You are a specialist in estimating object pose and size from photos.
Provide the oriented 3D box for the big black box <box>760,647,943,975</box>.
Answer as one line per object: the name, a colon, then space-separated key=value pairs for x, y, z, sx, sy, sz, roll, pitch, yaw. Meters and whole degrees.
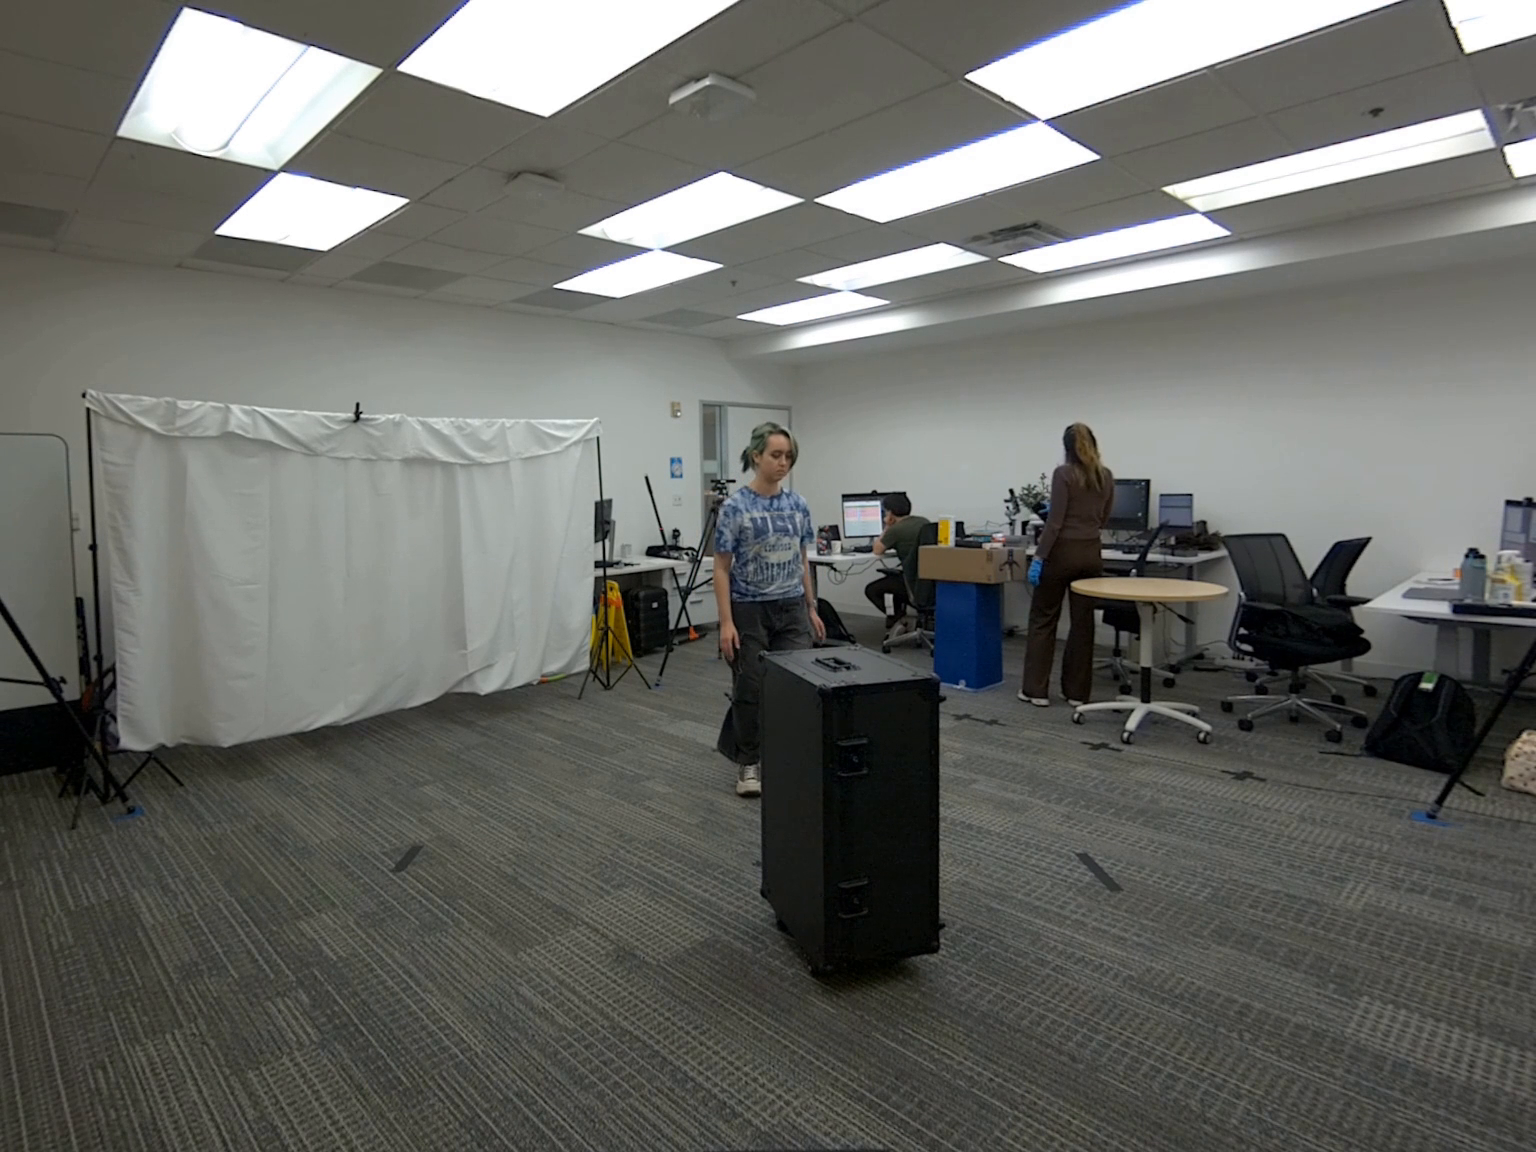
big black box: x=0.234 y=0.683 z=2.543 sx=0.389 sy=0.858 sz=0.532 roll=-1 pitch=5 yaw=-20
